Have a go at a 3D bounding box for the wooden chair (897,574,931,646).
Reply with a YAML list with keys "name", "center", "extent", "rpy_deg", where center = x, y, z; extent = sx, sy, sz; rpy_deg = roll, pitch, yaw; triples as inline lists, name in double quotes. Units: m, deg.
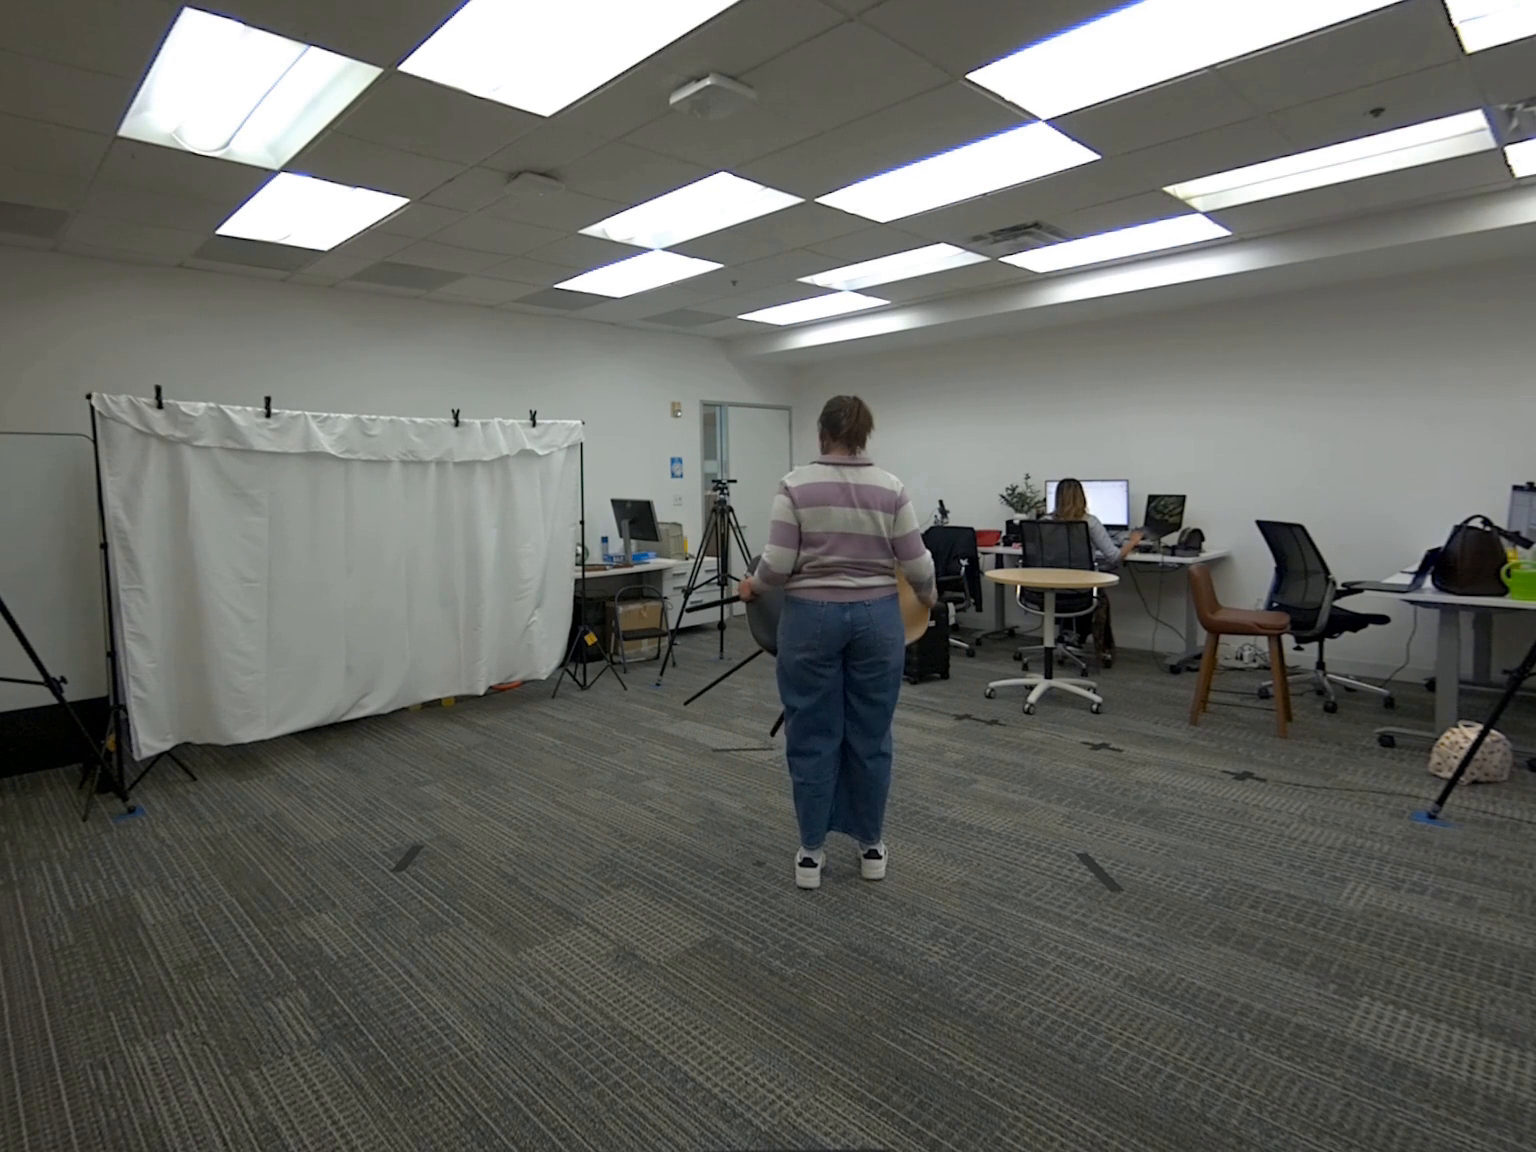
- name: "wooden chair"
  center: [0.112, 0.188, 3.271]
  extent: [0.505, 0.491, 0.884]
  rpy_deg: [30, -49, -34]
